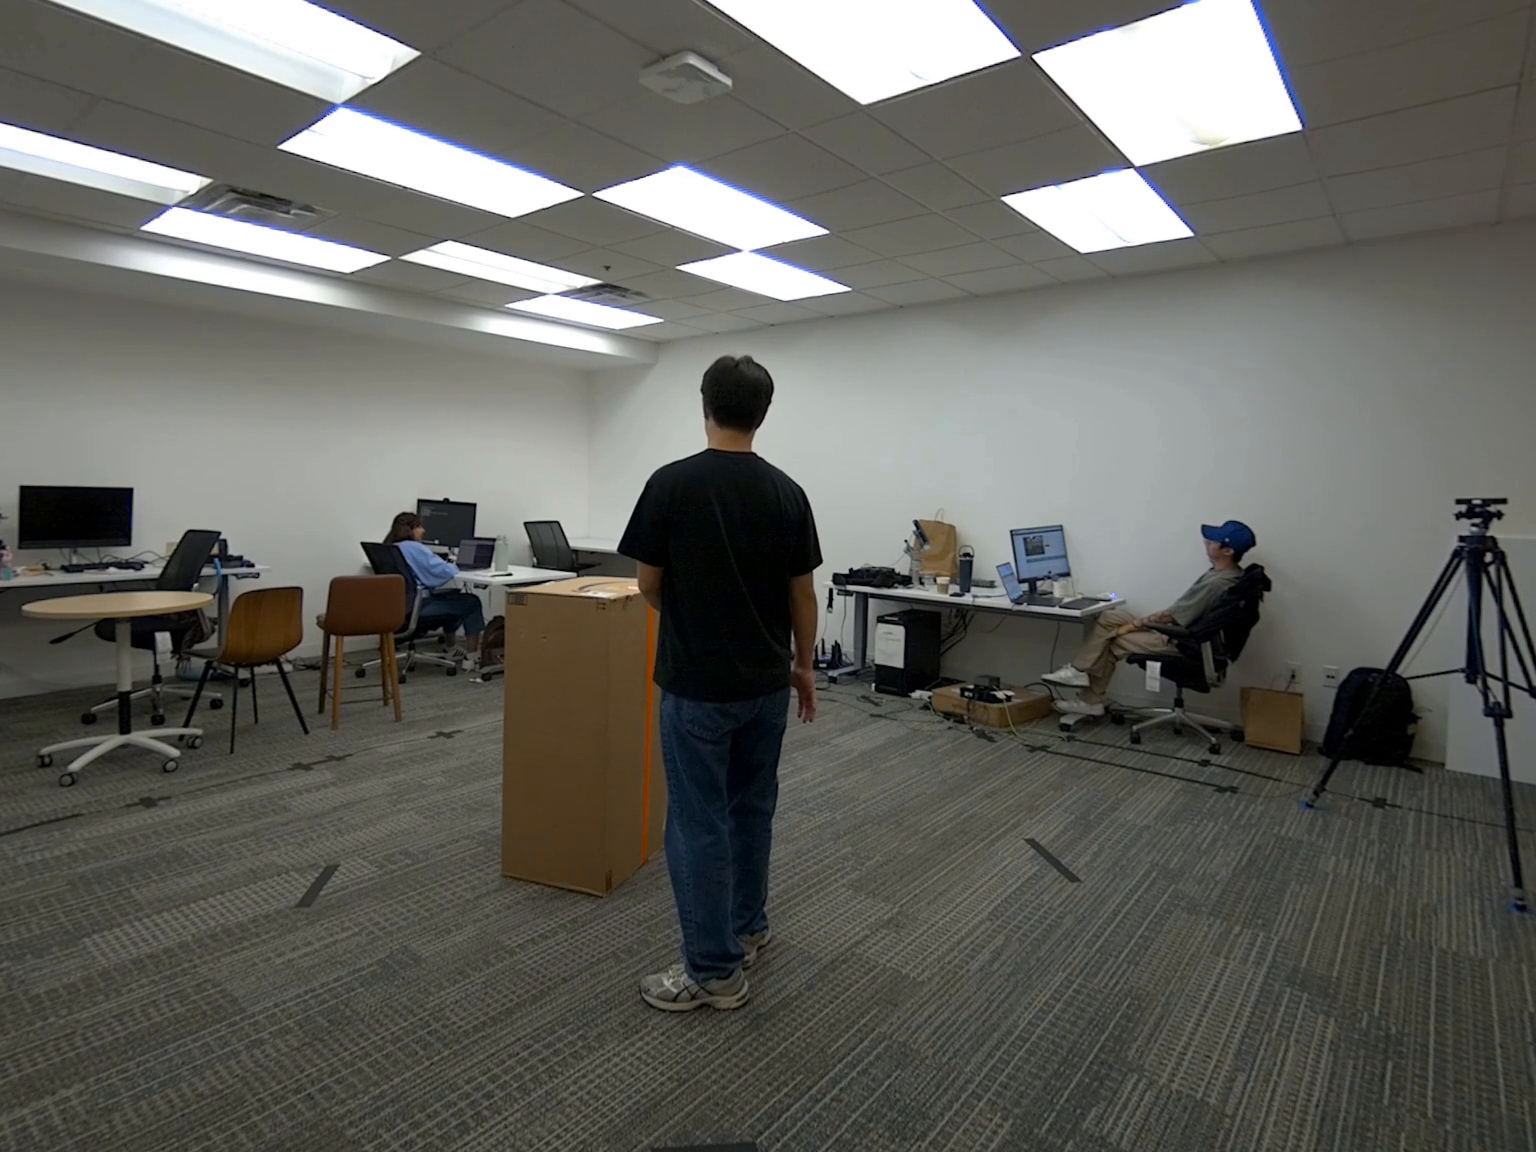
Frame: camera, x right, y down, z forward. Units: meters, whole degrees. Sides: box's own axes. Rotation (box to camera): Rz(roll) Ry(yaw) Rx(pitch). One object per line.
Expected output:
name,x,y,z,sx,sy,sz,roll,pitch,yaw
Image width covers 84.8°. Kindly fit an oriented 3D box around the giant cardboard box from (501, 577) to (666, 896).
giant cardboard box,-0.663,0.541,3.193,0.457,1.024,0.573,3,4,20
